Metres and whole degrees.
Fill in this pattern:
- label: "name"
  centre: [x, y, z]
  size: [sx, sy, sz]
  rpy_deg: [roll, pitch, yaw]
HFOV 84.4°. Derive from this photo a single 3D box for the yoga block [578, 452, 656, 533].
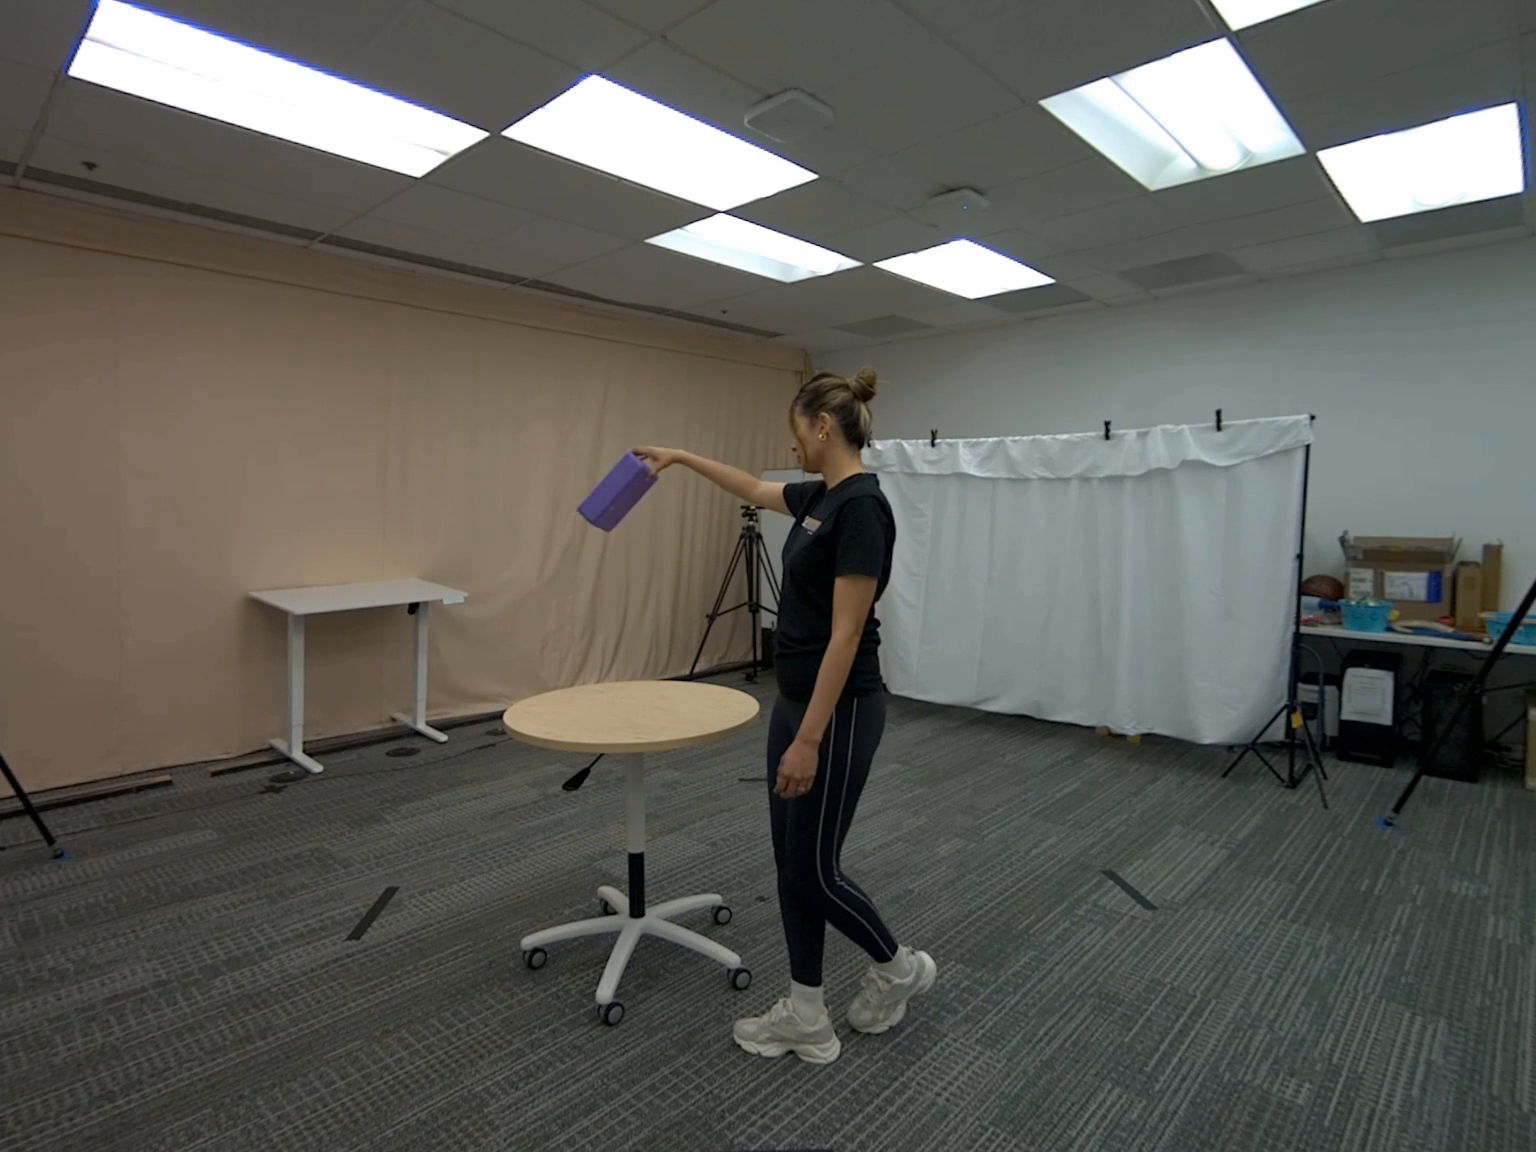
- label: "yoga block"
  centre: [-0.436, -0.242, 2.461]
  size: [0.078, 0.229, 0.146]
  rpy_deg: [42, 4, 12]
